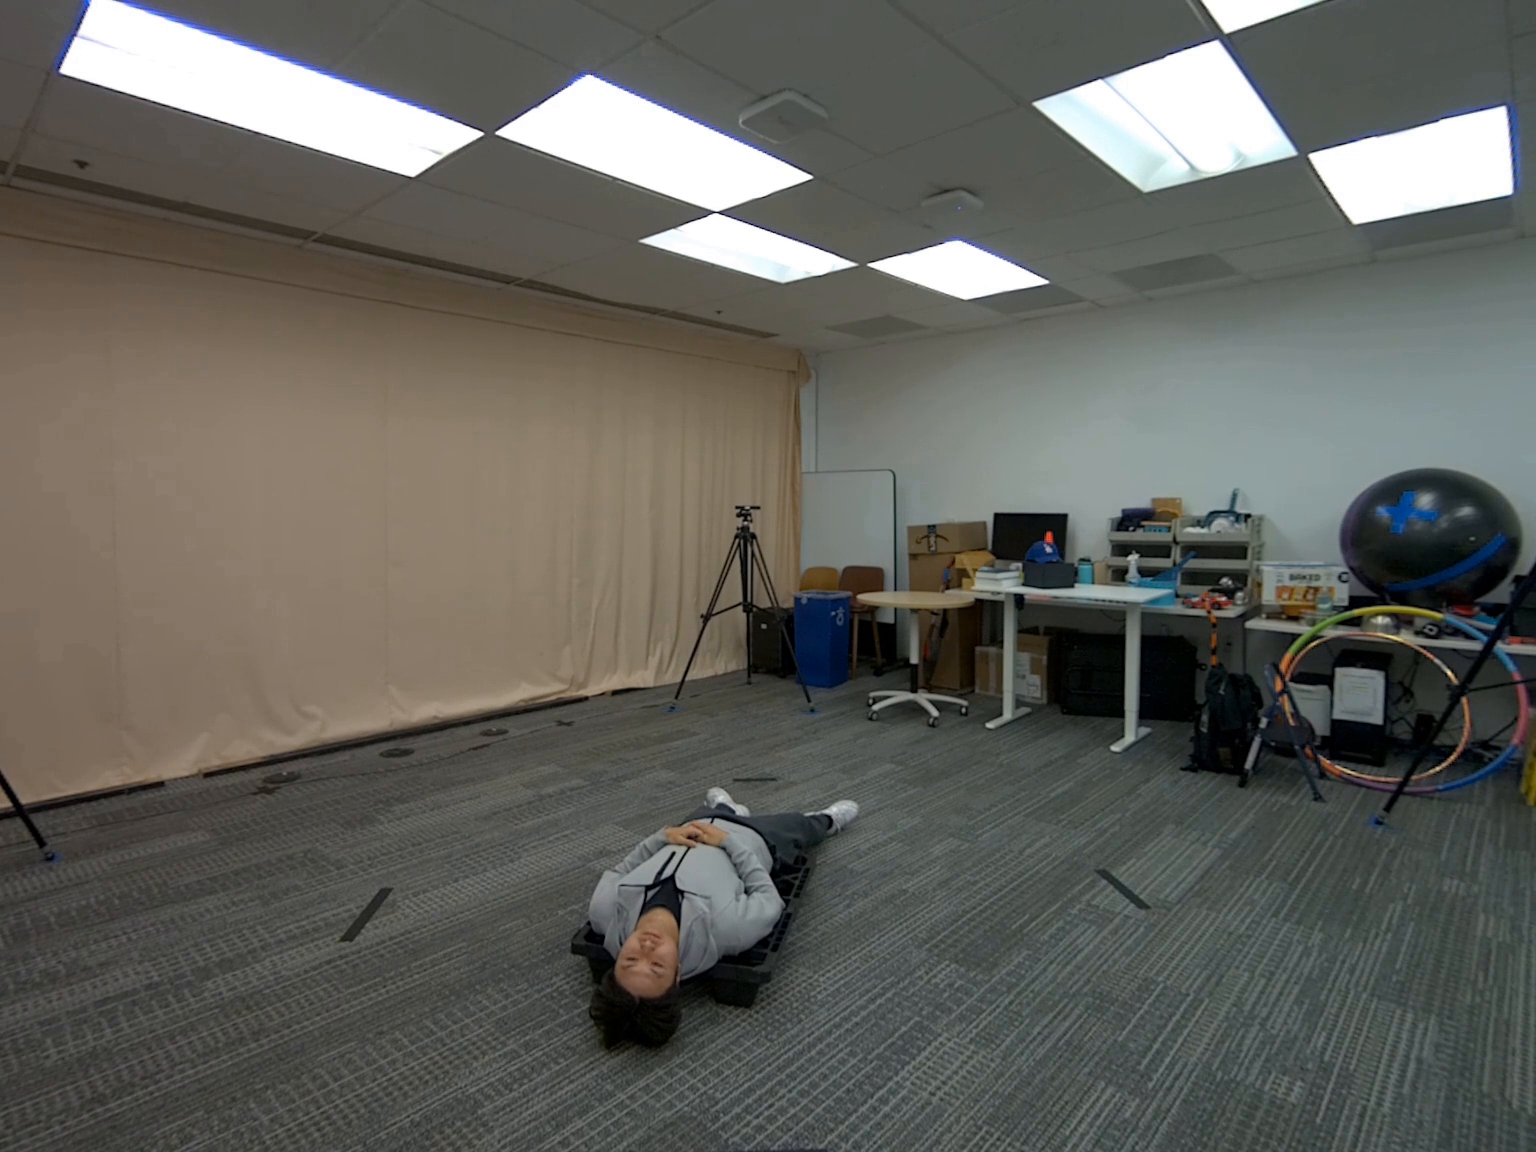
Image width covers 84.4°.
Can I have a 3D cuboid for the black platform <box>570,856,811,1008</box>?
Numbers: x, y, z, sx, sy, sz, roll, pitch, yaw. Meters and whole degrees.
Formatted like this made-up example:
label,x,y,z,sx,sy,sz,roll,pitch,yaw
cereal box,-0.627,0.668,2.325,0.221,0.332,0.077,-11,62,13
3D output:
label,x,y,z,sx,sy,sz,roll,pitch,yaw
black platform,-0.199,1.097,2.739,0.616,0.143,0.795,1,7,15
